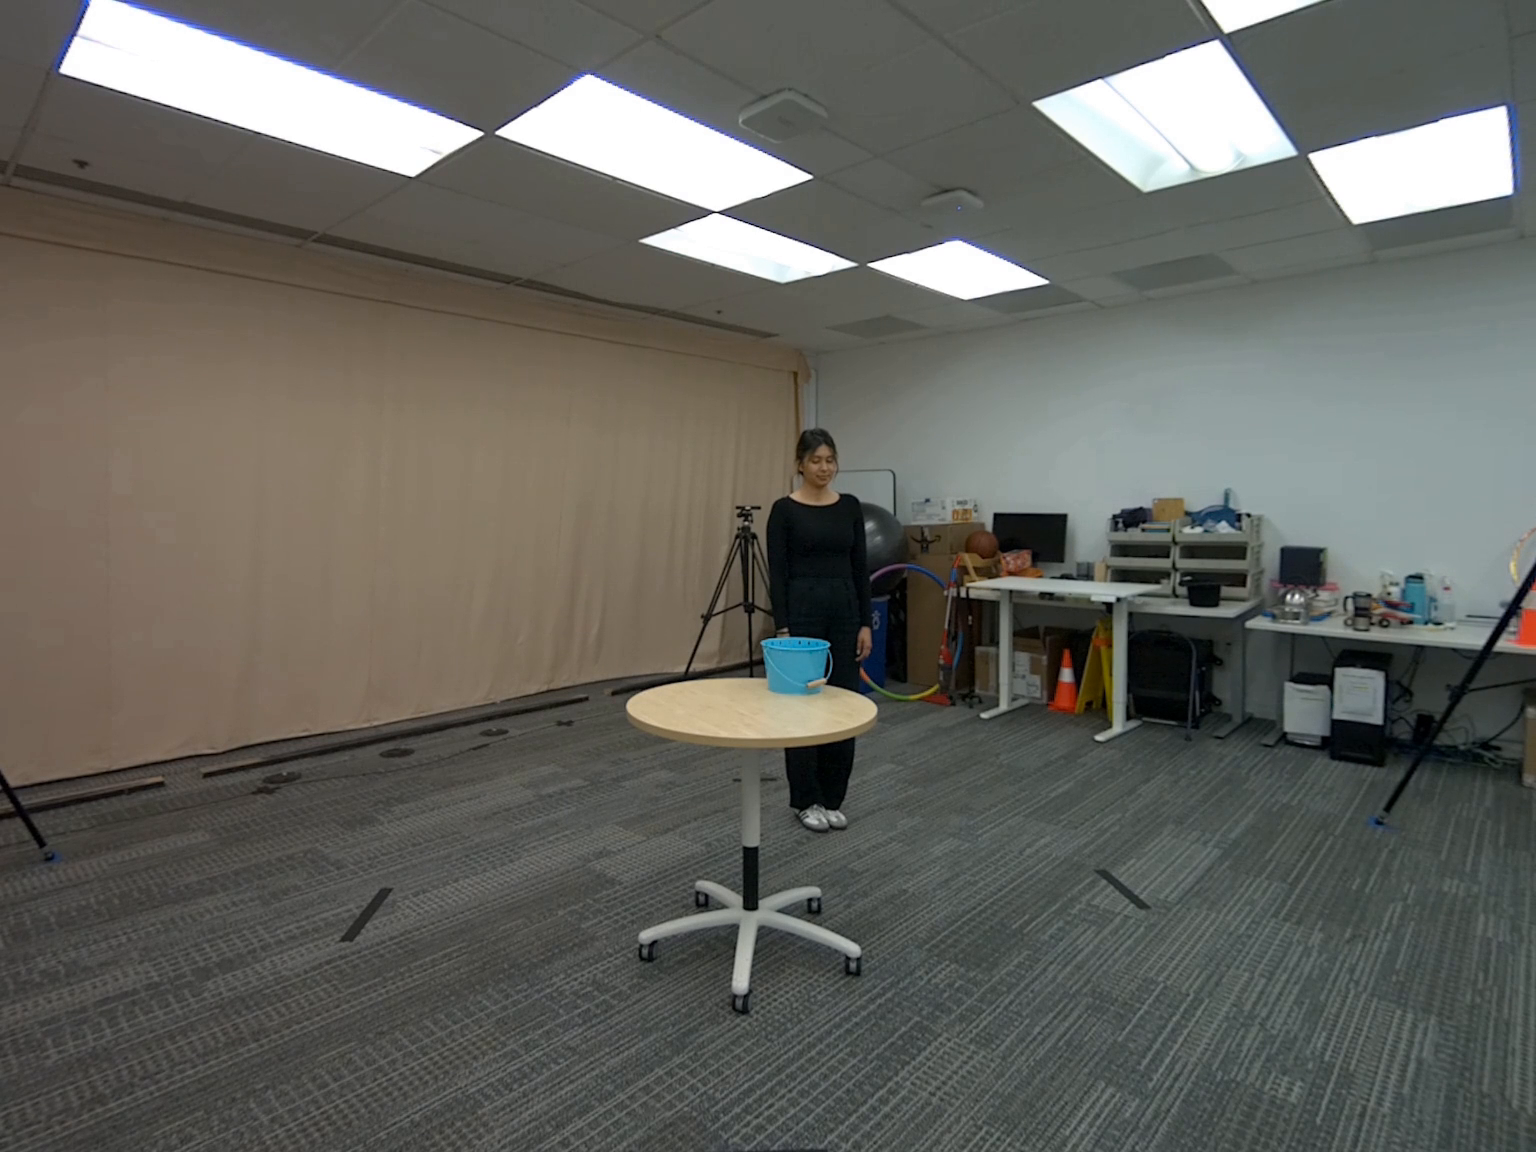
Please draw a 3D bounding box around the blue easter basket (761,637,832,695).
[{"bbox_3d":[0.094,0.305,2.805,0.243,0.156,0.244,0,2,-2],"label":"blue easter basket"}]
